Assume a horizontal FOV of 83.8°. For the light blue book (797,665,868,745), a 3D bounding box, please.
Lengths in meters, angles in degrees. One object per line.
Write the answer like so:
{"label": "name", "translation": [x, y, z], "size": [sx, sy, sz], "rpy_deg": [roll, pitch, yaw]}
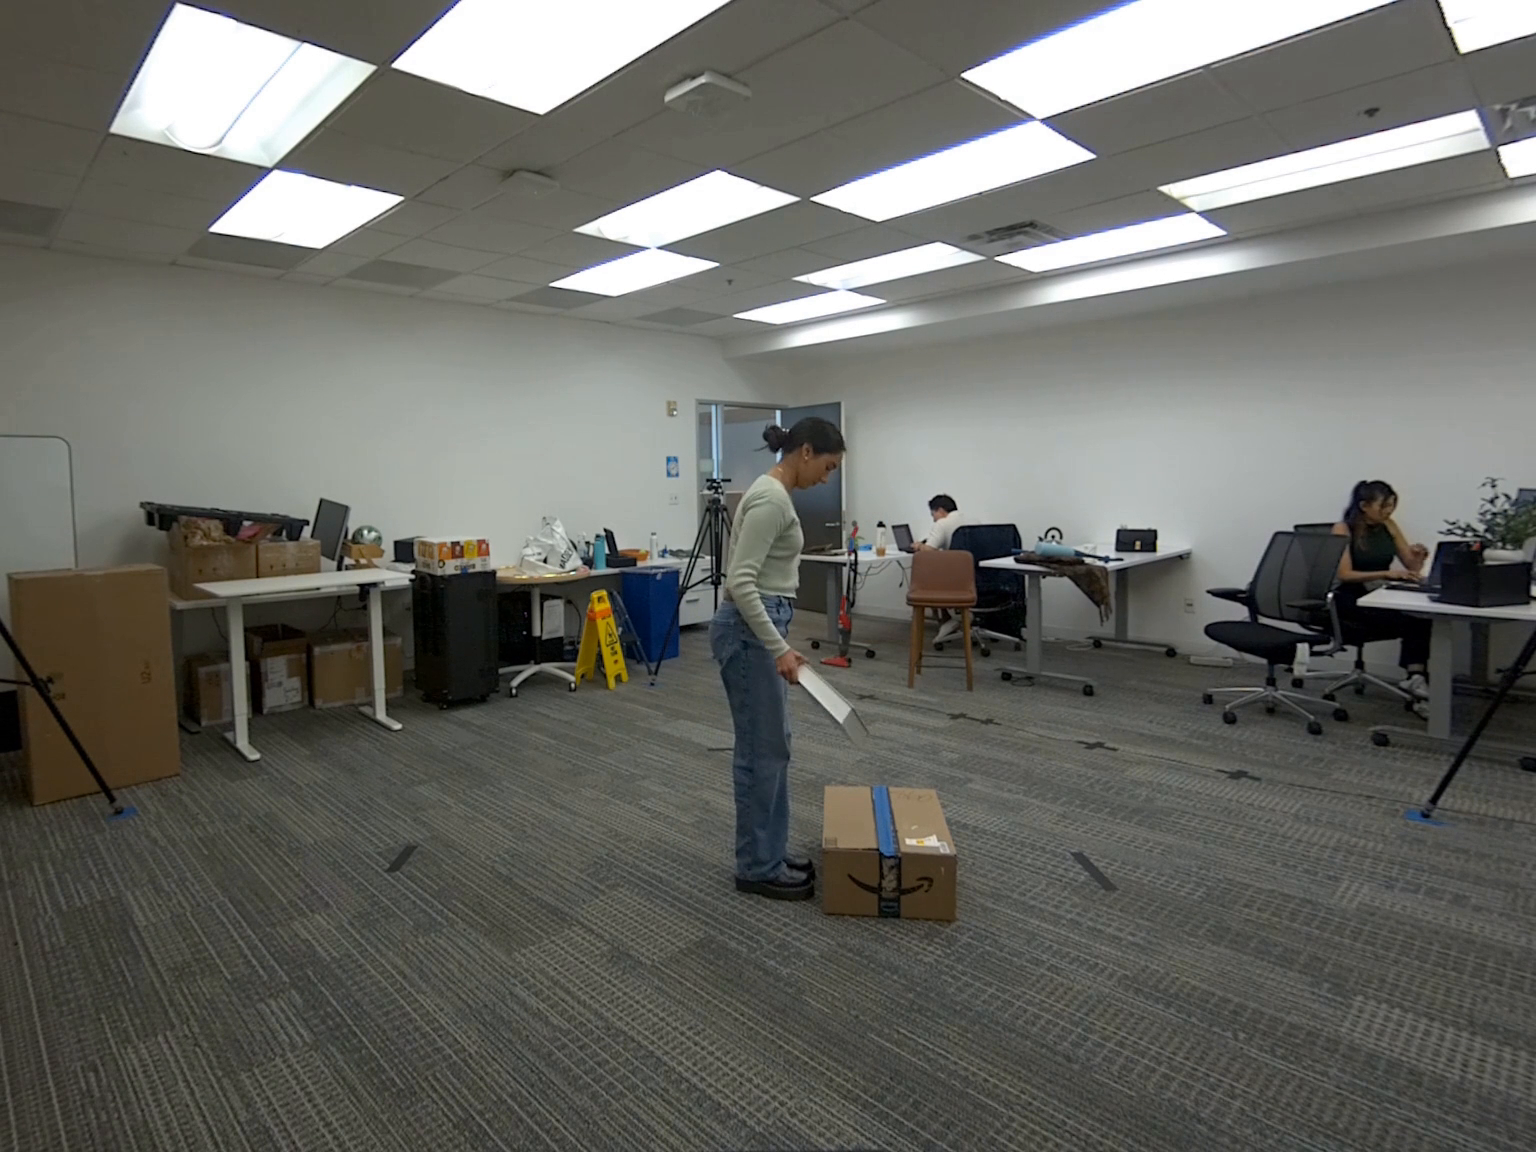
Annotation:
{"label": "light blue book", "translation": [0.193, 0.384, 2.659], "size": [0.271, 0.059, 0.184], "rpy_deg": [39, -12, 41]}
